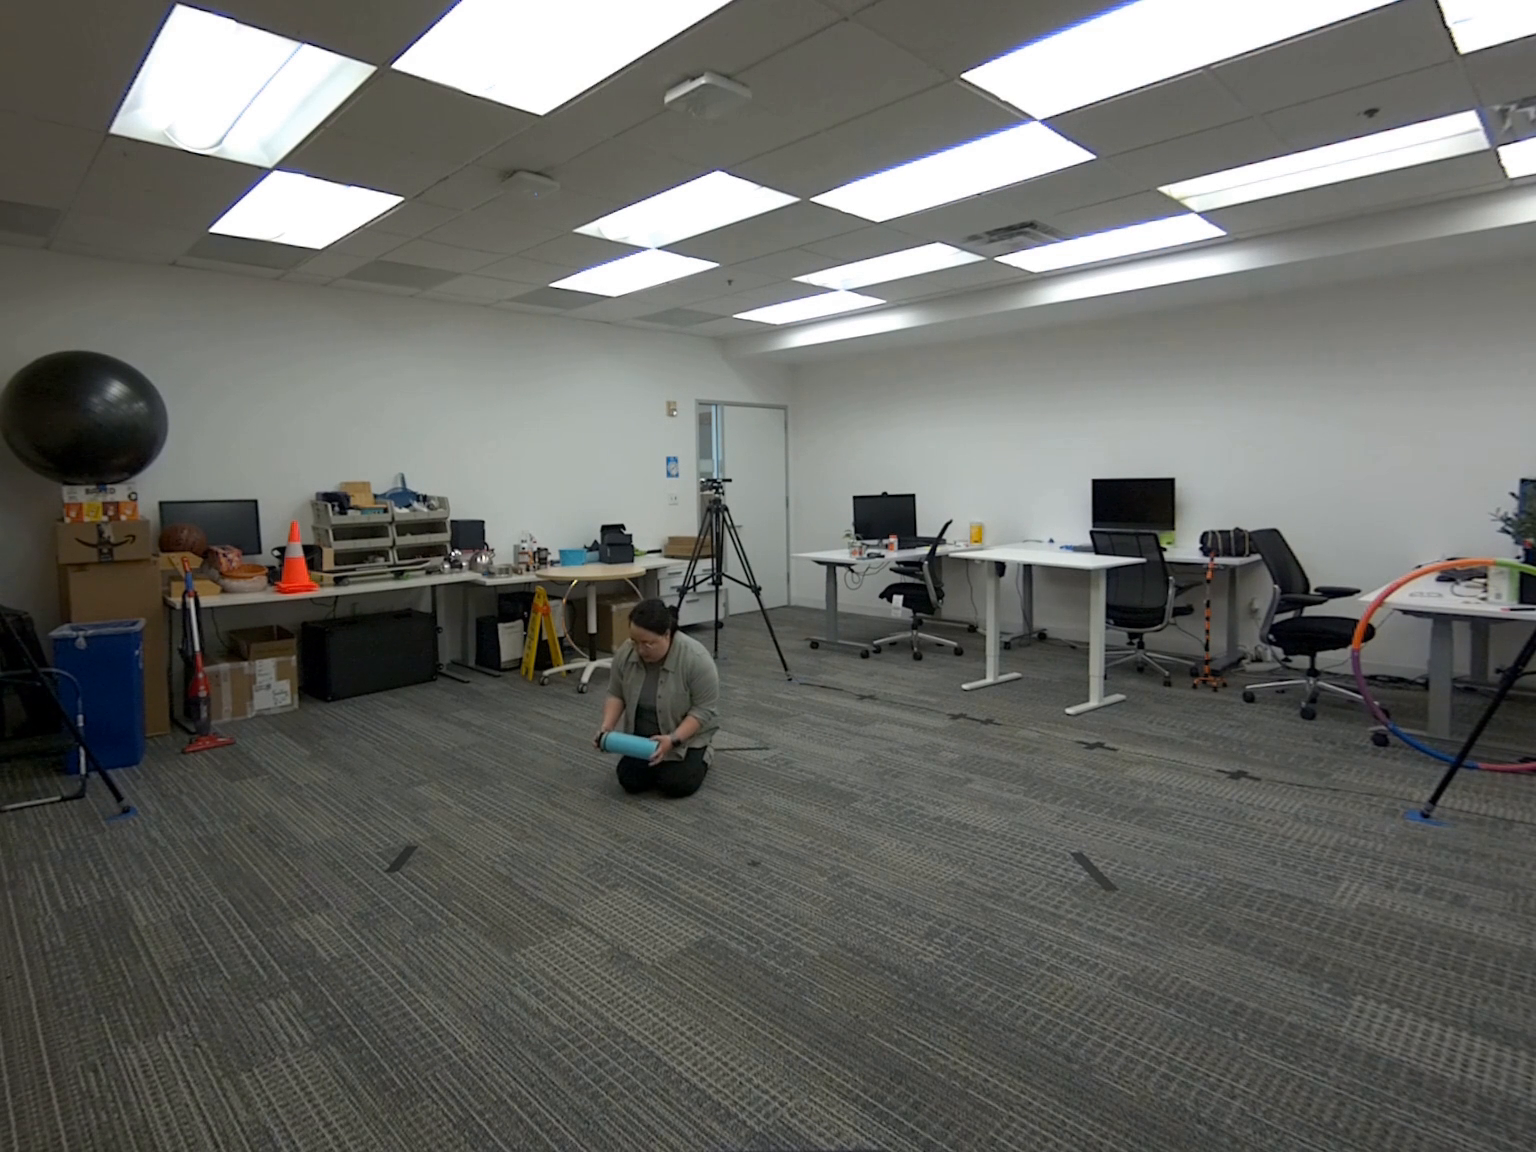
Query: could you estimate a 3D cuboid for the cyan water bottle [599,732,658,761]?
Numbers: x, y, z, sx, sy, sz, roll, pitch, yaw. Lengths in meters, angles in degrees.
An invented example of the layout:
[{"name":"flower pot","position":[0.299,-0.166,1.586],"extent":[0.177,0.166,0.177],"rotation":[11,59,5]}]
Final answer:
[{"name":"cyan water bottle","position":[-0.623,0.747,3.719],"extent":[0.288,0.092,0.091],"rotation":[9,7,14]}]
